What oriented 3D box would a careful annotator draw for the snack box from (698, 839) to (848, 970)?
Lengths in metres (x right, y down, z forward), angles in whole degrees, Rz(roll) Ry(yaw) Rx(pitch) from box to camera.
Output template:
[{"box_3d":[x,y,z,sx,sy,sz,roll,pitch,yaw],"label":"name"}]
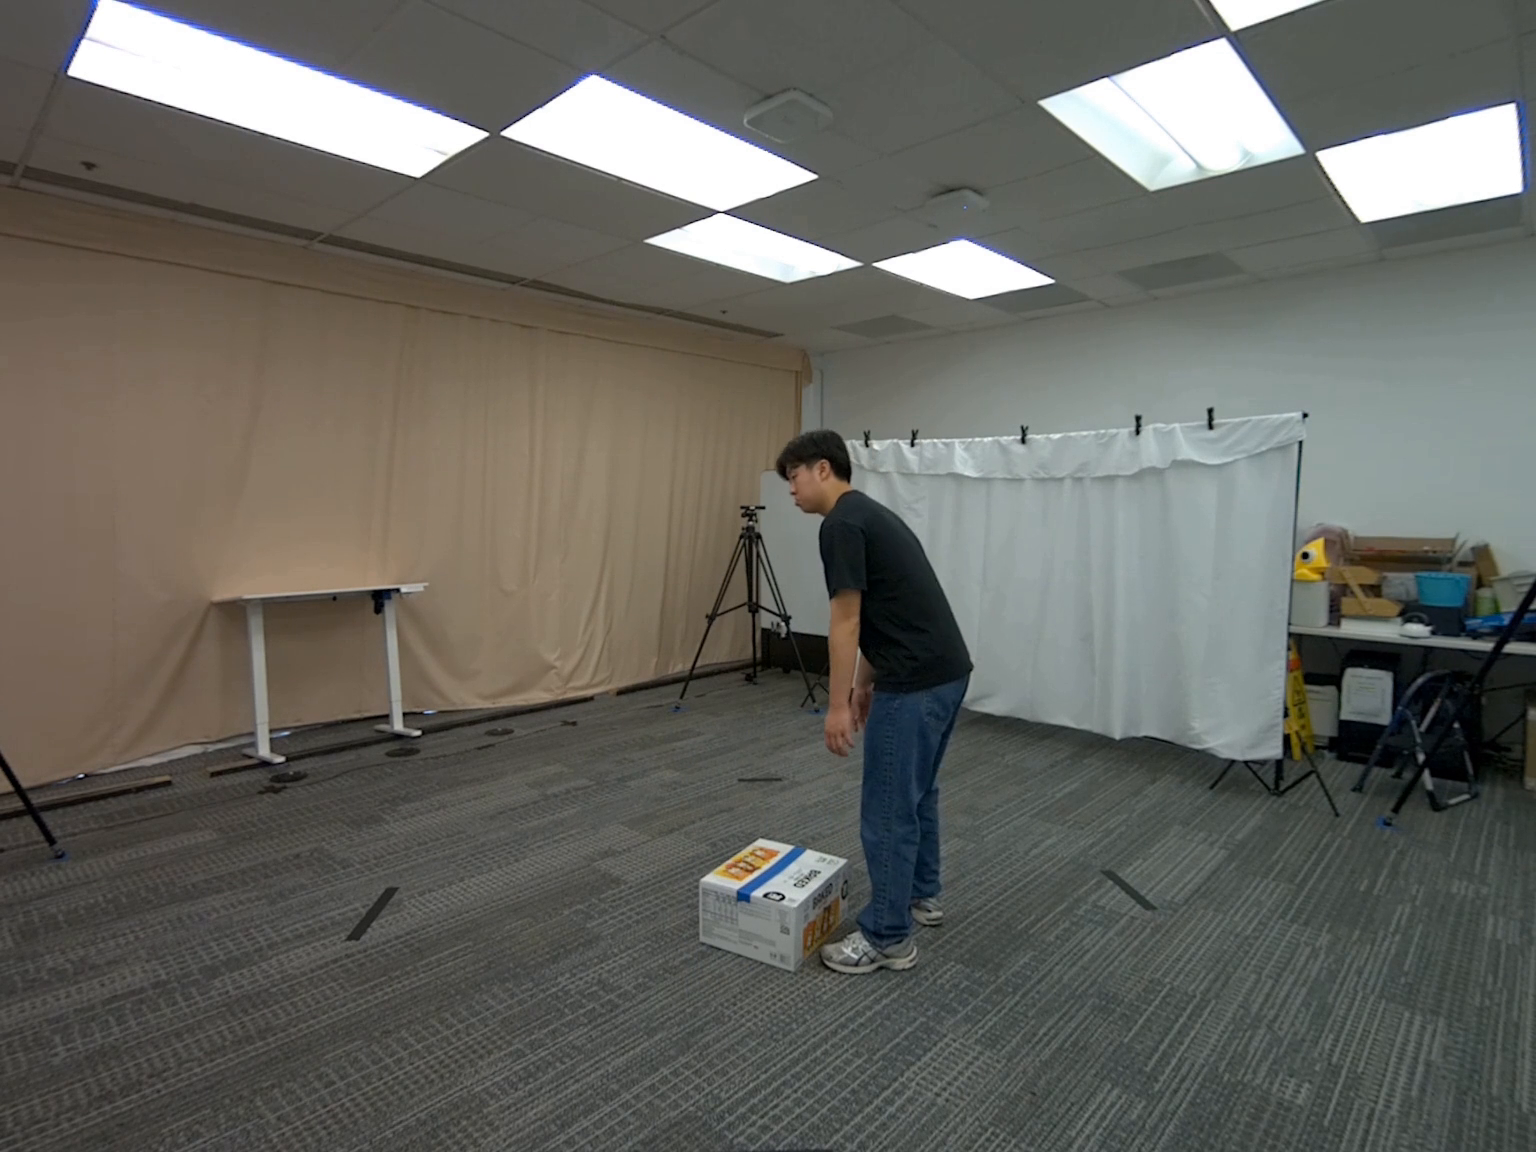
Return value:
[{"box_3d":[0.028,1.063,2.754,0.350,0.205,0.394,2,5,30],"label":"snack box"}]
